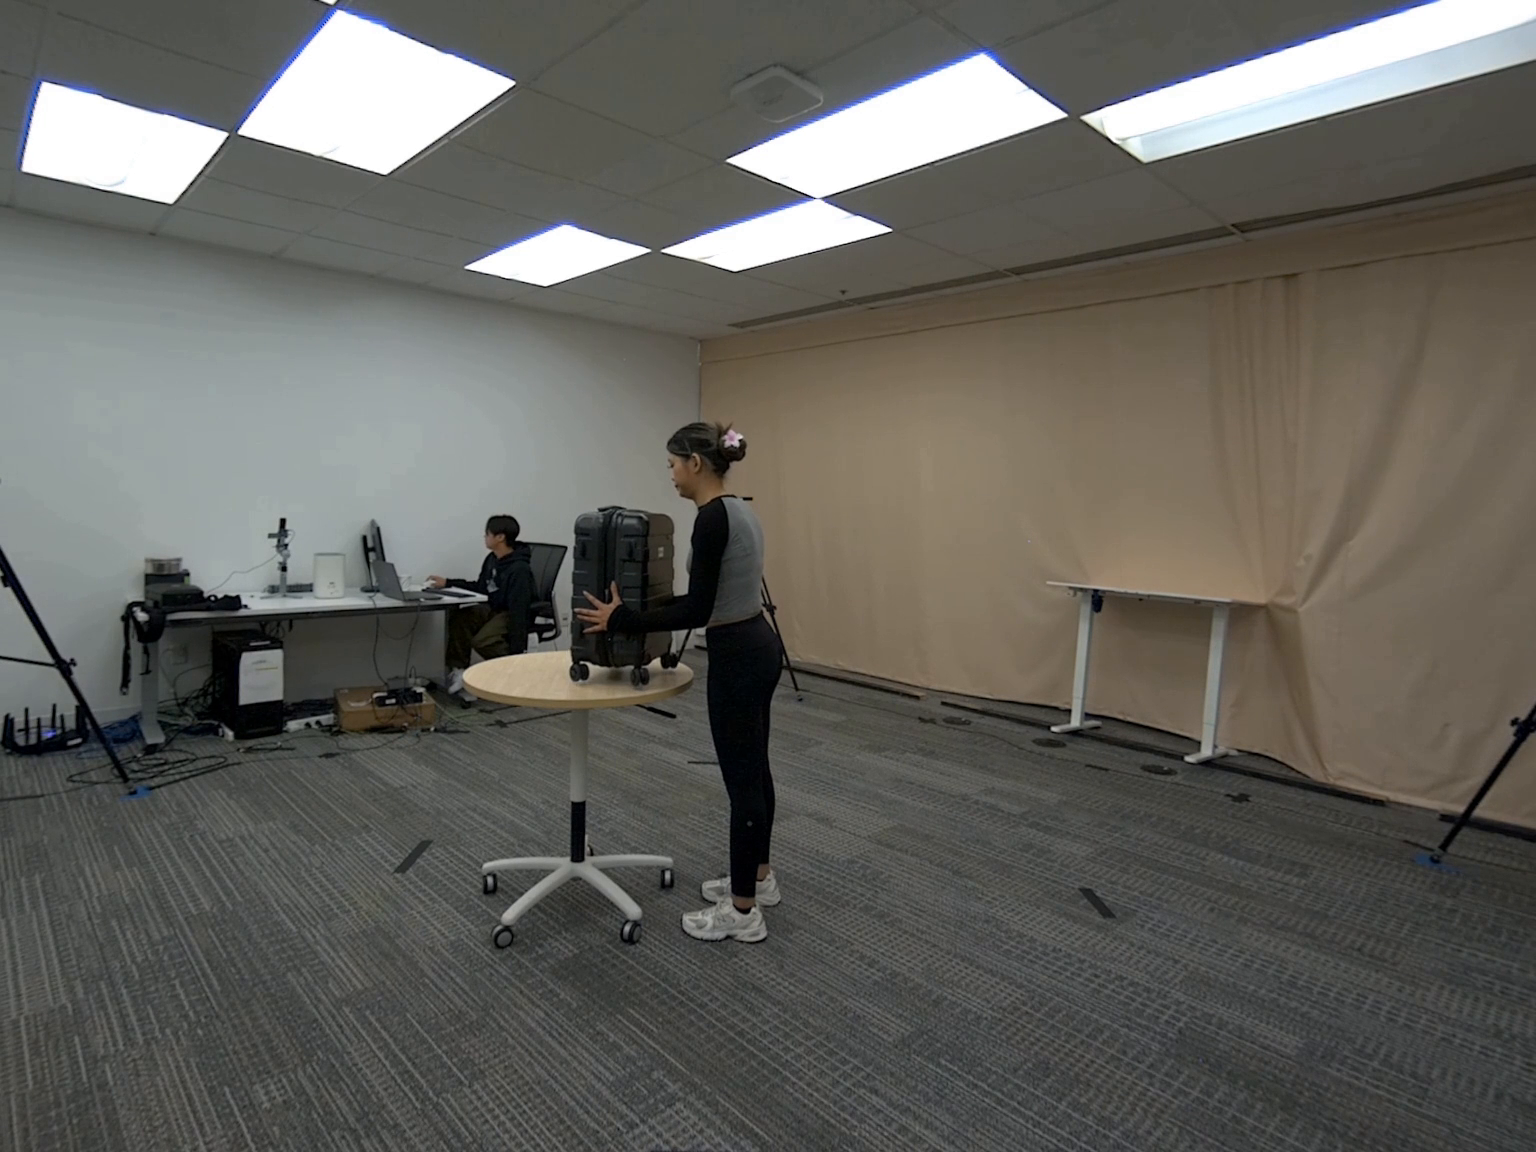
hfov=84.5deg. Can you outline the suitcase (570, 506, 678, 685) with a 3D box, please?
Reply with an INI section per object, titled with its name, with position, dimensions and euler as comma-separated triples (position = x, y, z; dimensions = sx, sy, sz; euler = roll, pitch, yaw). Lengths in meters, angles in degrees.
[suitcase]
position = -0.473, 0.046, 2.792
dimensions = 0.251, 0.548, 0.372
euler = 2, 3, 12
